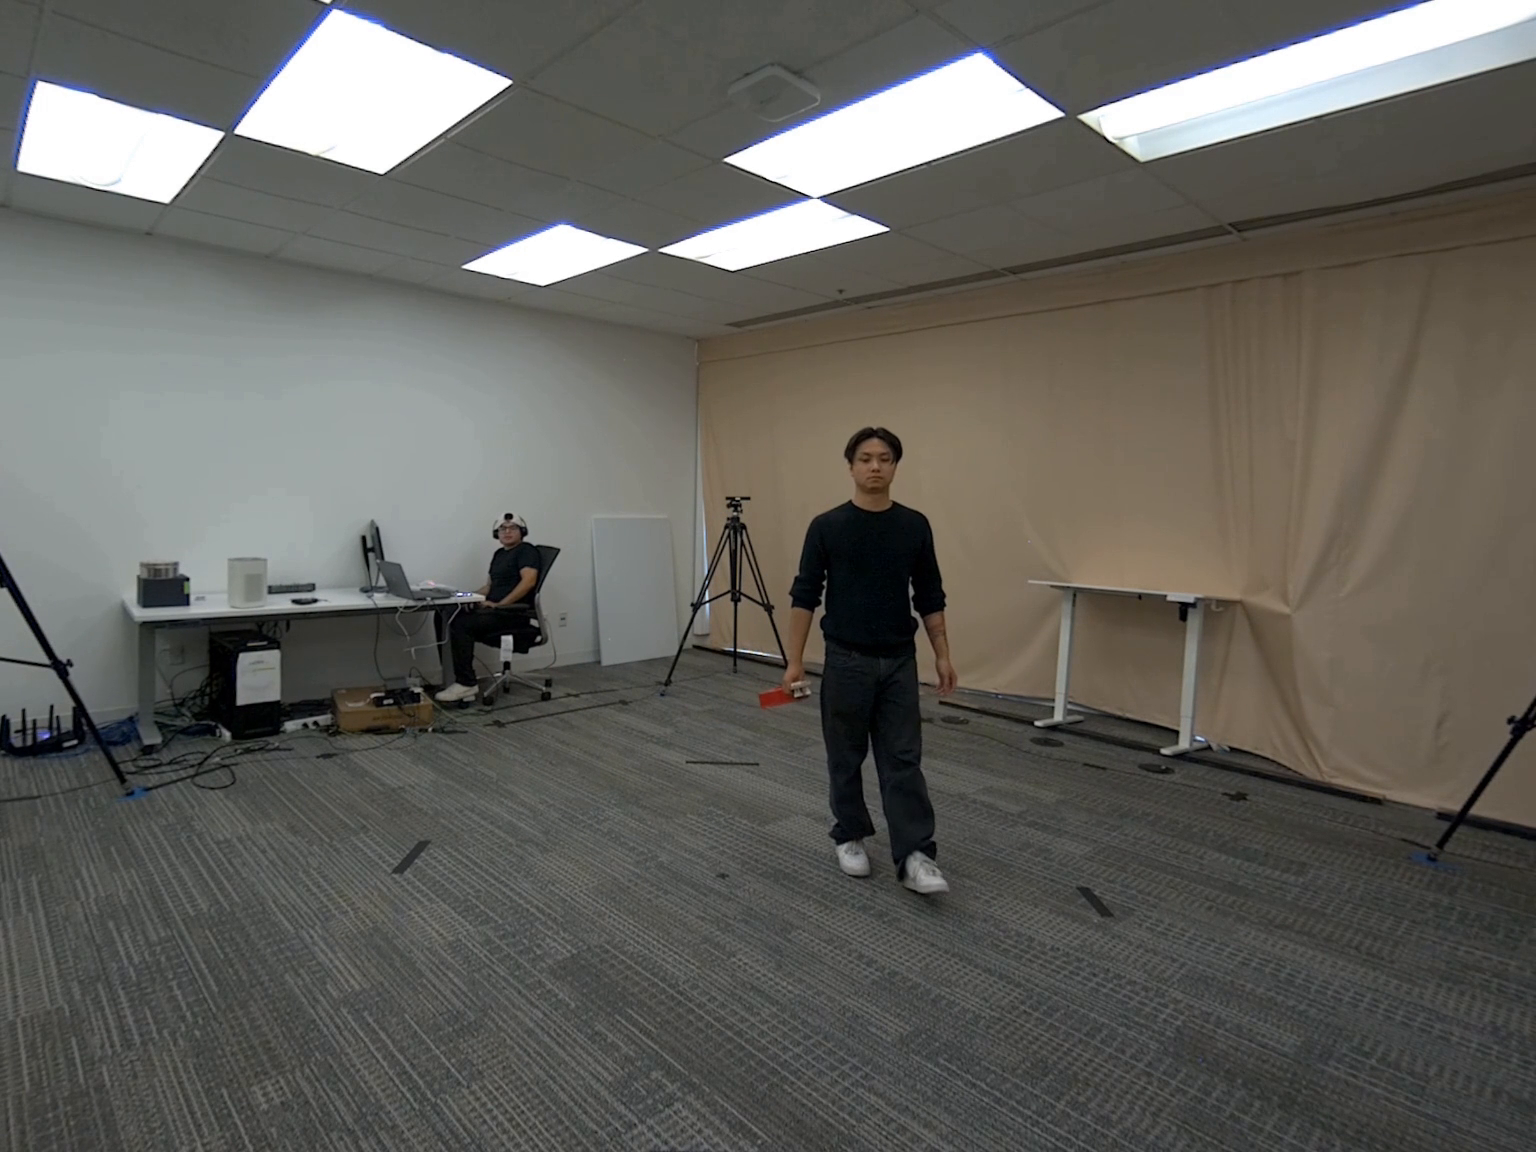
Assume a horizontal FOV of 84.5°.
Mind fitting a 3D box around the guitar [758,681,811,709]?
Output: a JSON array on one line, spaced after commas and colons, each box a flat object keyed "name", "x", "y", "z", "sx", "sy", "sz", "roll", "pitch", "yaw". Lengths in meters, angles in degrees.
[{"name": "guitar", "x": 0.054, "y": 0.457, "z": 3.243, "sx": 0.193, "sy": 0.071, "sz": 0.495, "roll": -14, "pitch": -5, "yaw": -3}]
